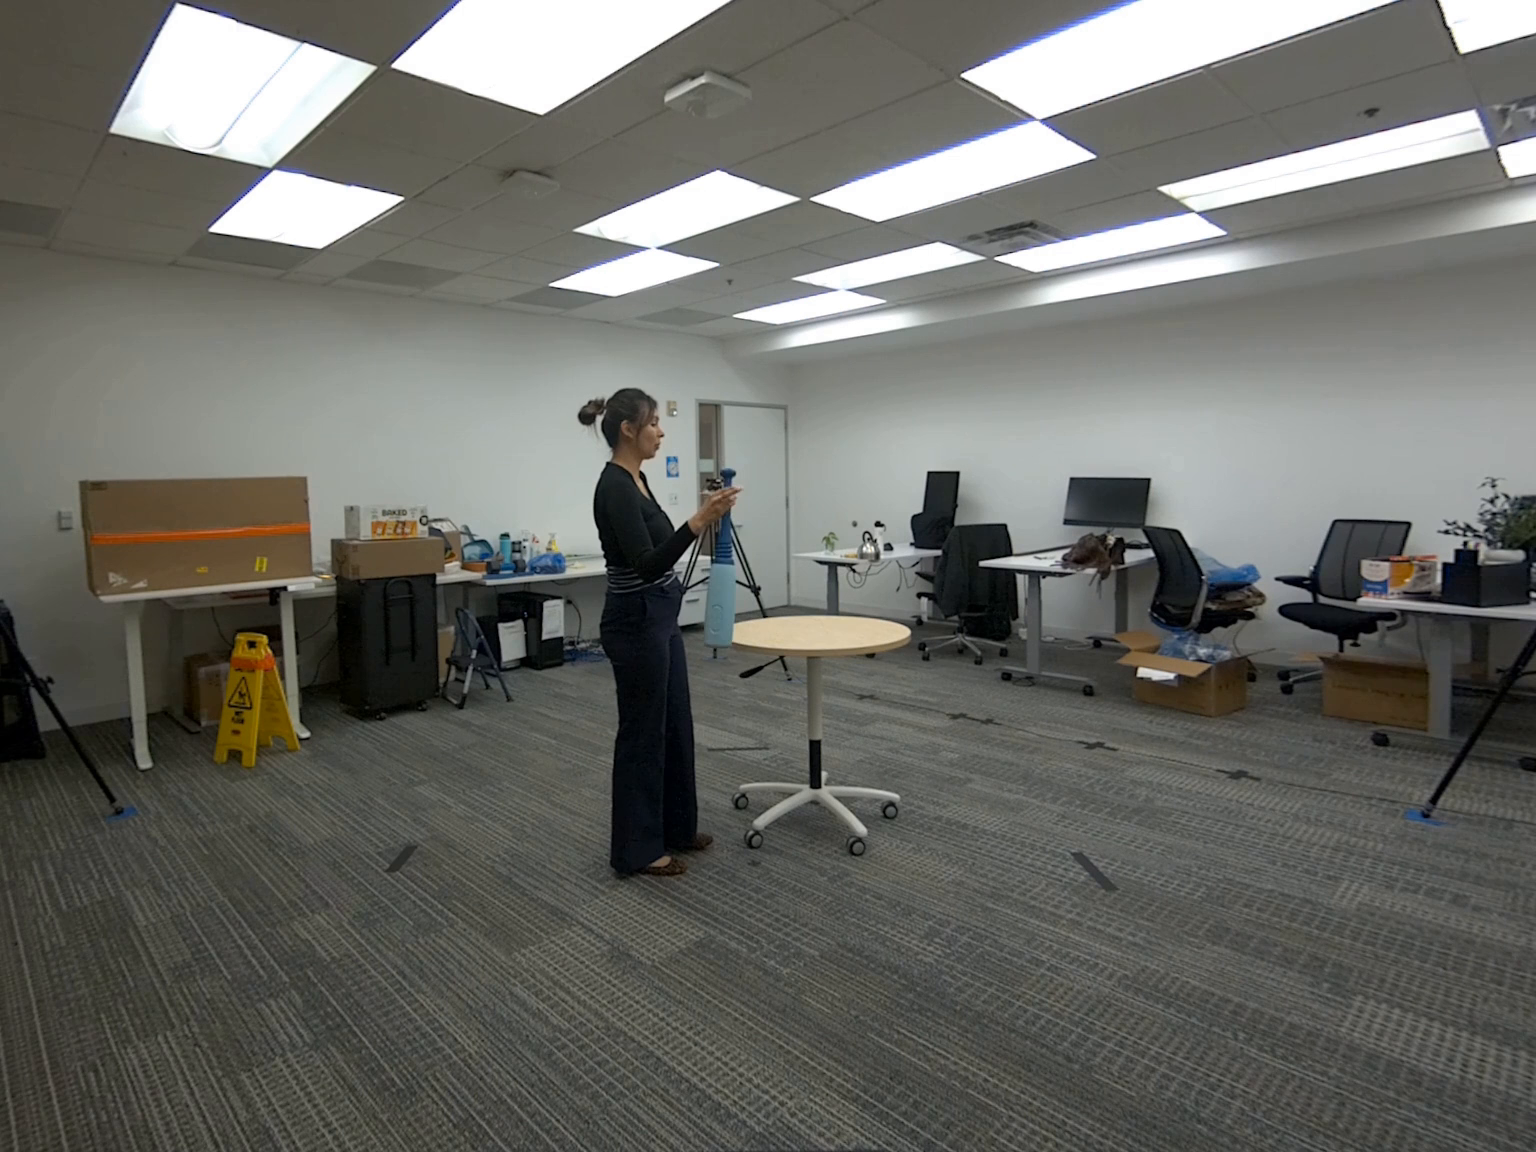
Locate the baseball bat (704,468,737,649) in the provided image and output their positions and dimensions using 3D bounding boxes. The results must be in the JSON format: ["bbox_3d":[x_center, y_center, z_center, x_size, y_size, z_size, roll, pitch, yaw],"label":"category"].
[{"bbox_3d":[-0.135,-0.042,2.575,0.089,0.544,0.089,3,-3,-2],"label":"baseball bat"}]
